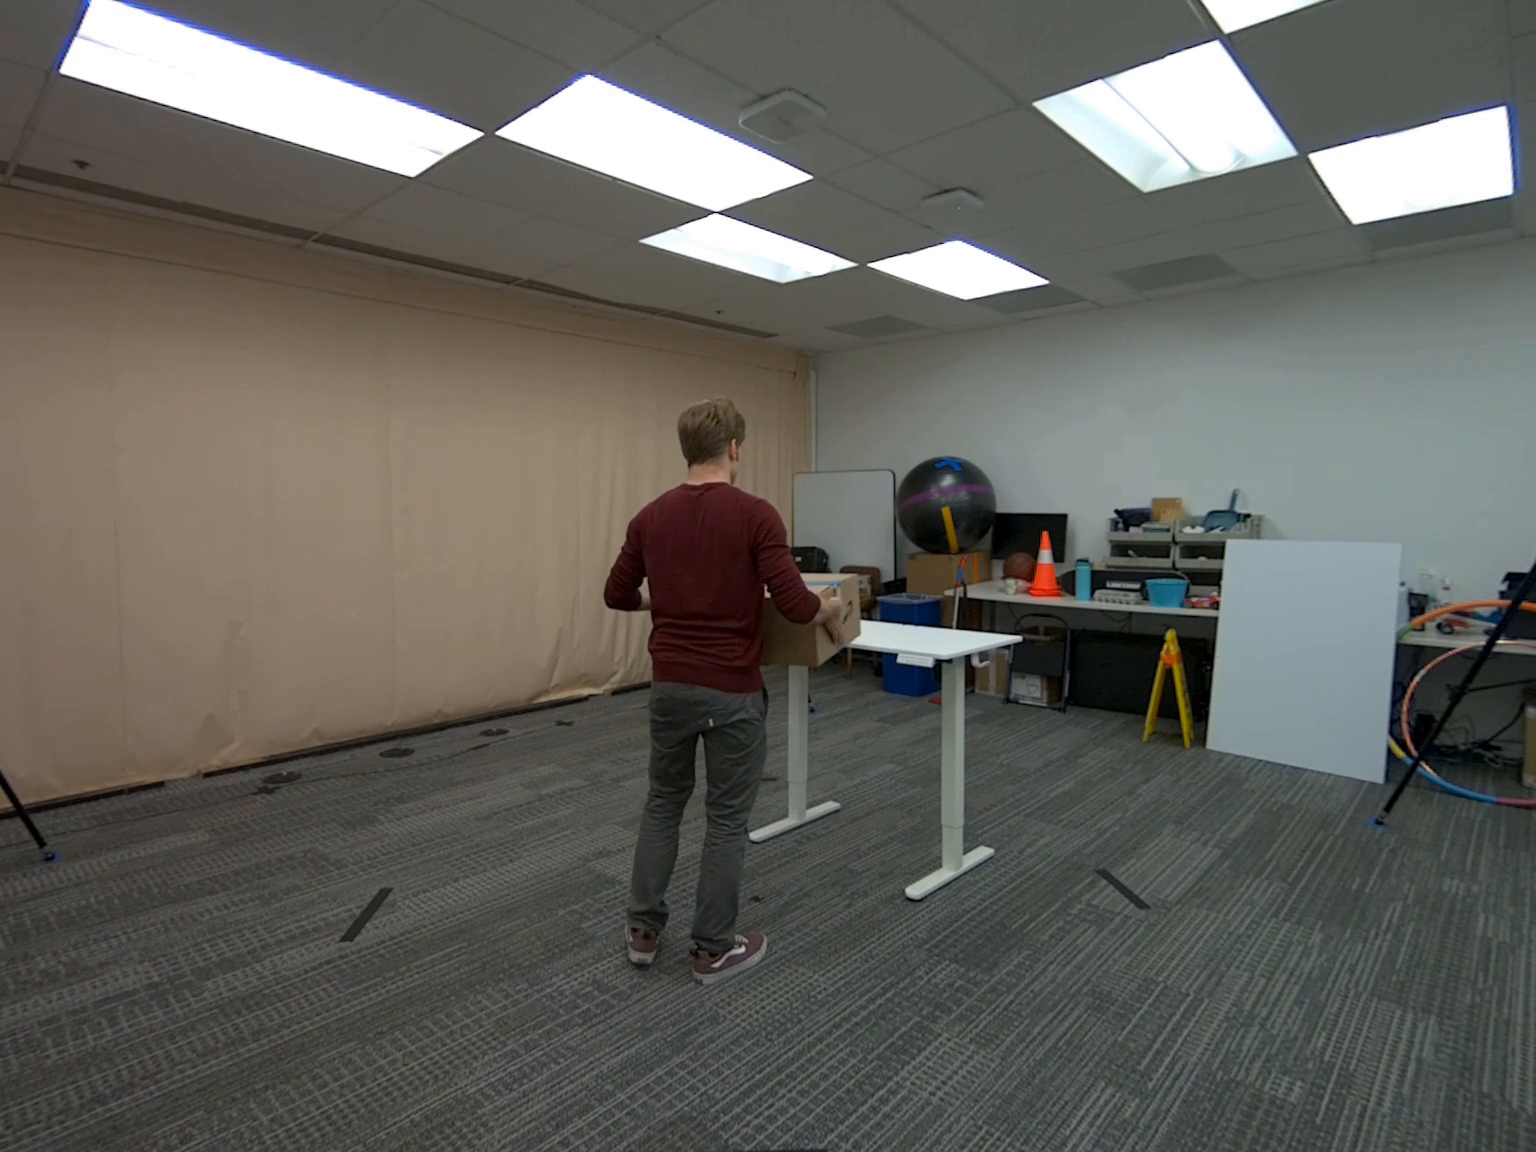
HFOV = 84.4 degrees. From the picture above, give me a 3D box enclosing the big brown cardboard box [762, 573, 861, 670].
[{"bbox_3d":[-0.035,0.129,2.824,0.603,0.232,0.410,1,9,24],"label":"big brown cardboard box"}]
